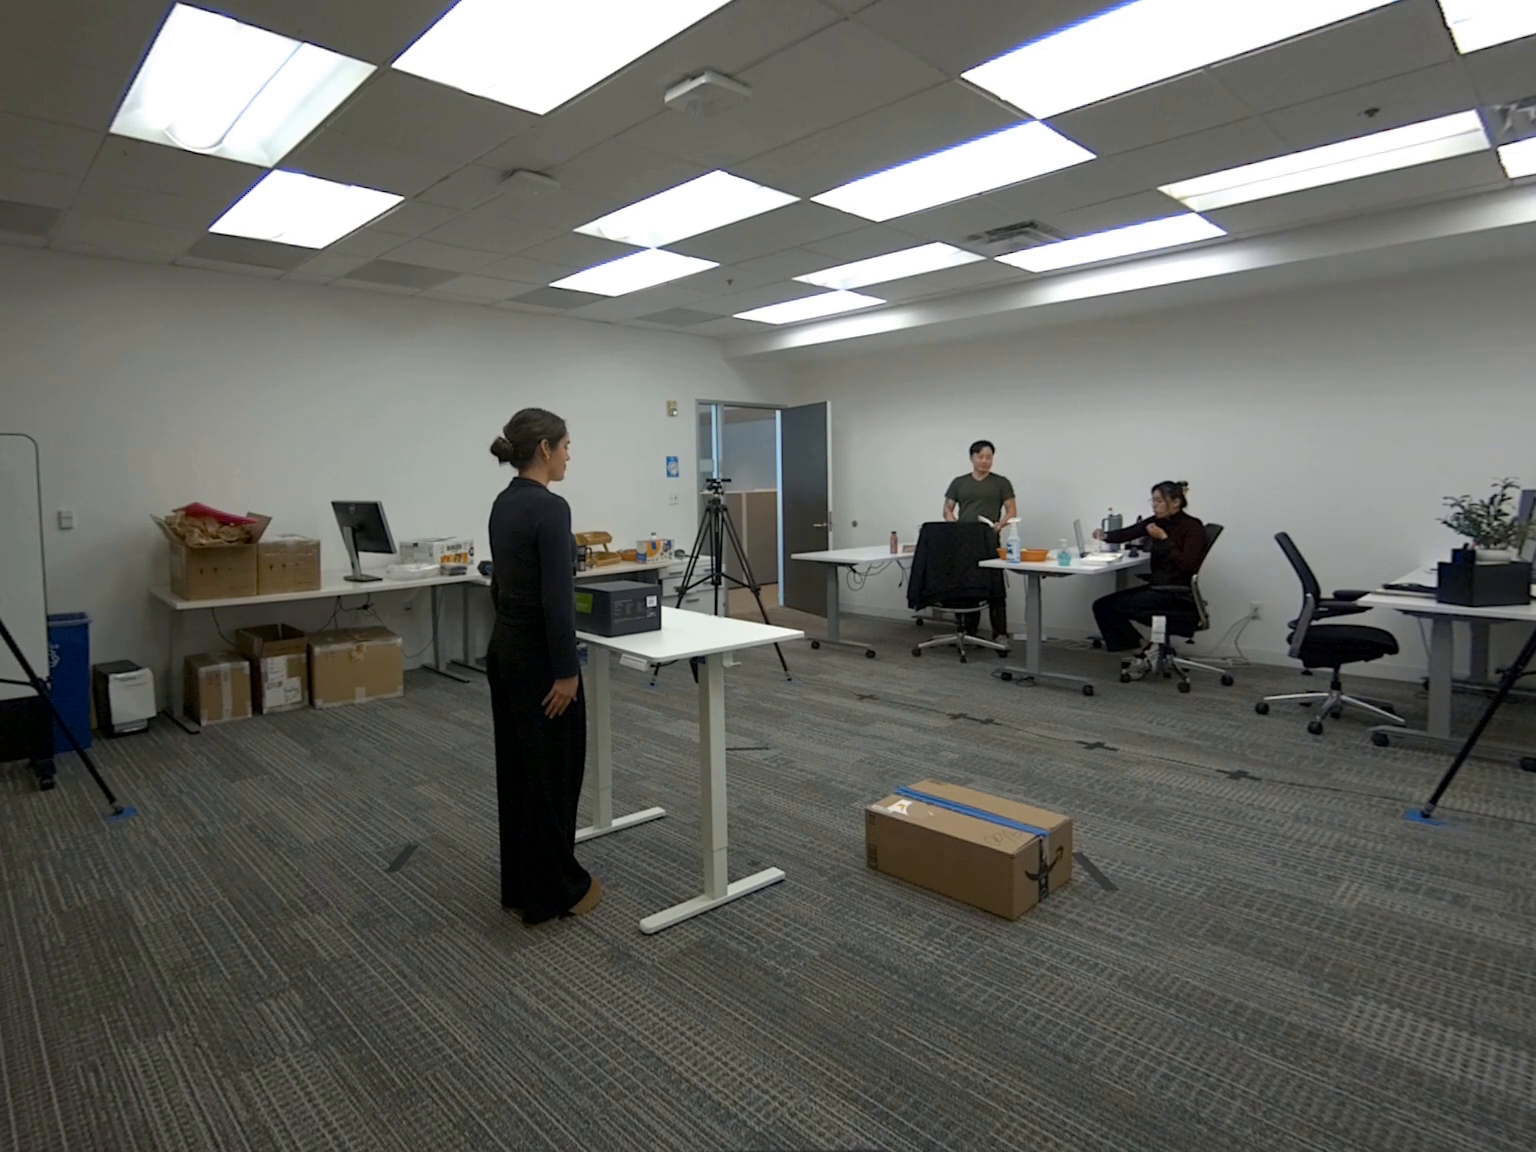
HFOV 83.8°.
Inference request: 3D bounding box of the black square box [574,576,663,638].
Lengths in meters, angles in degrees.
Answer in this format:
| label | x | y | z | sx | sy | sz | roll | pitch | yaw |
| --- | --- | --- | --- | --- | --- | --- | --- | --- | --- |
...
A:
| label | x | y | z | sx | sy | sz | roll | pitch | yaw |
| --- | --- | --- | --- | --- | --- | --- | --- | --- | --- |
| black square box | -0.528 | 0.108 | 2.962 | 0.211 | 0.155 | 0.235 | -6 | 7 | -43 |
